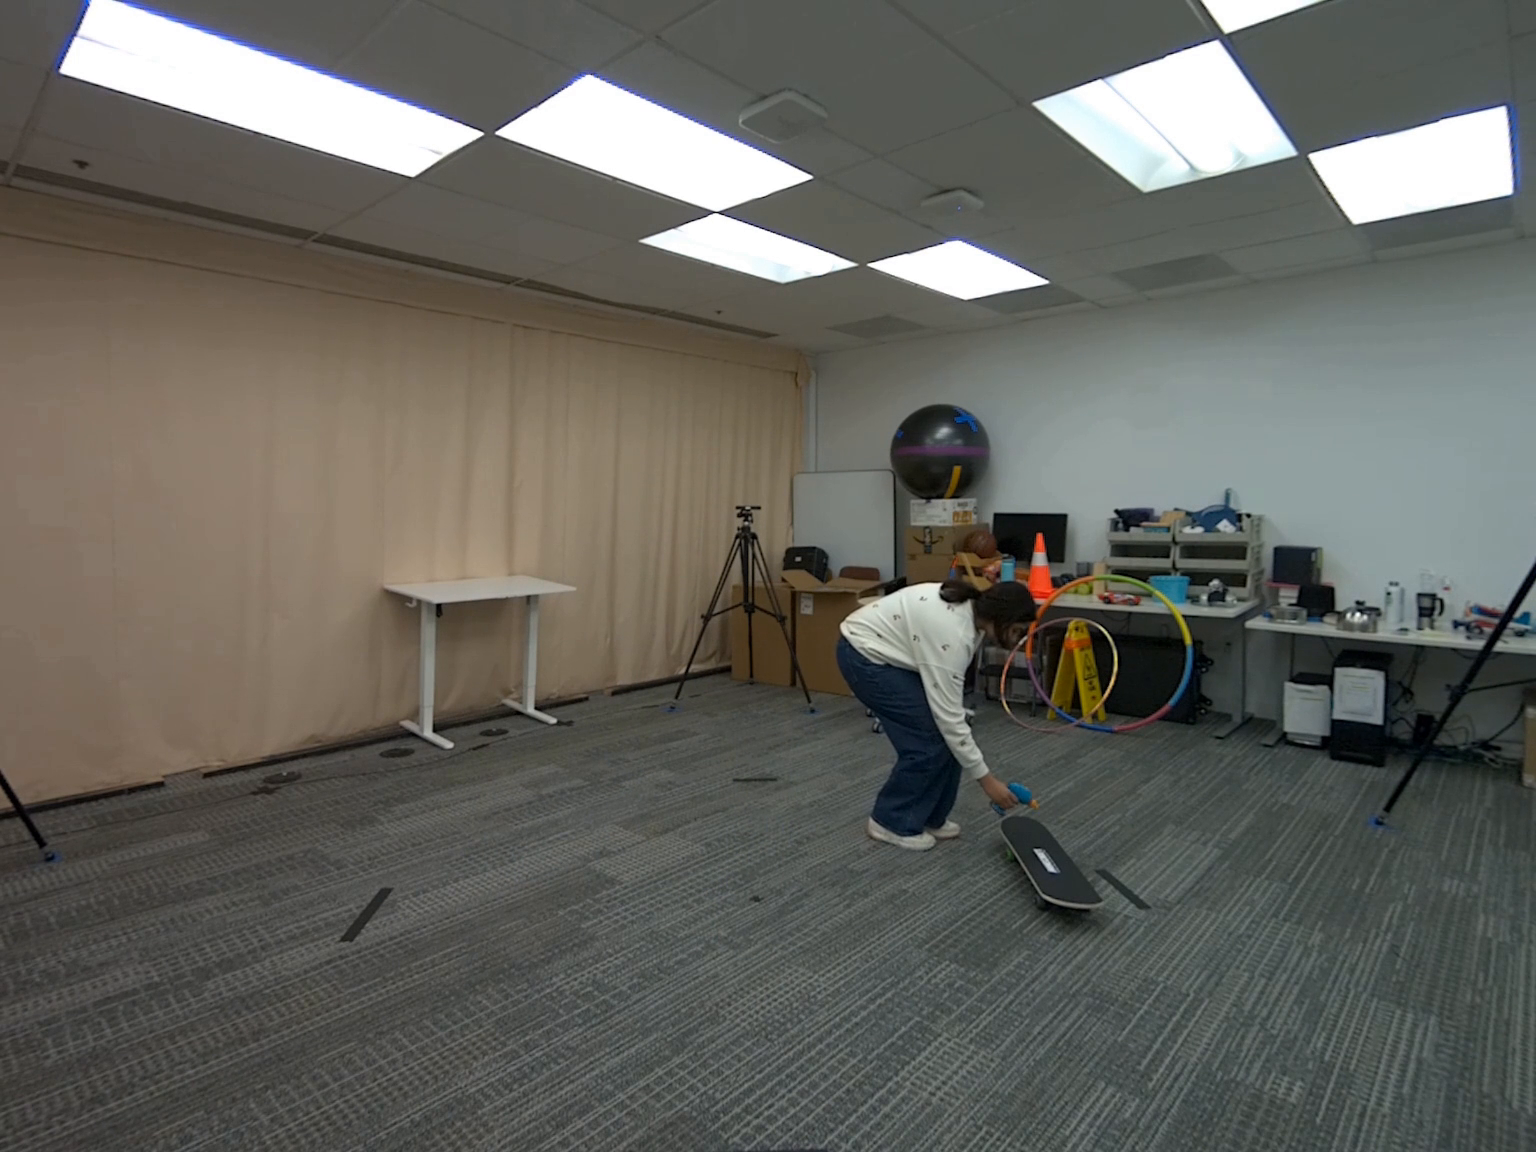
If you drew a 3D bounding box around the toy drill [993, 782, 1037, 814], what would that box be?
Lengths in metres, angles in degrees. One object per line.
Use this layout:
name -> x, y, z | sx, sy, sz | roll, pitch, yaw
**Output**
toy drill -> 0.978, 0.866, 3.283 | 0.149, 0.167, 0.061 | -29, 24, 47
